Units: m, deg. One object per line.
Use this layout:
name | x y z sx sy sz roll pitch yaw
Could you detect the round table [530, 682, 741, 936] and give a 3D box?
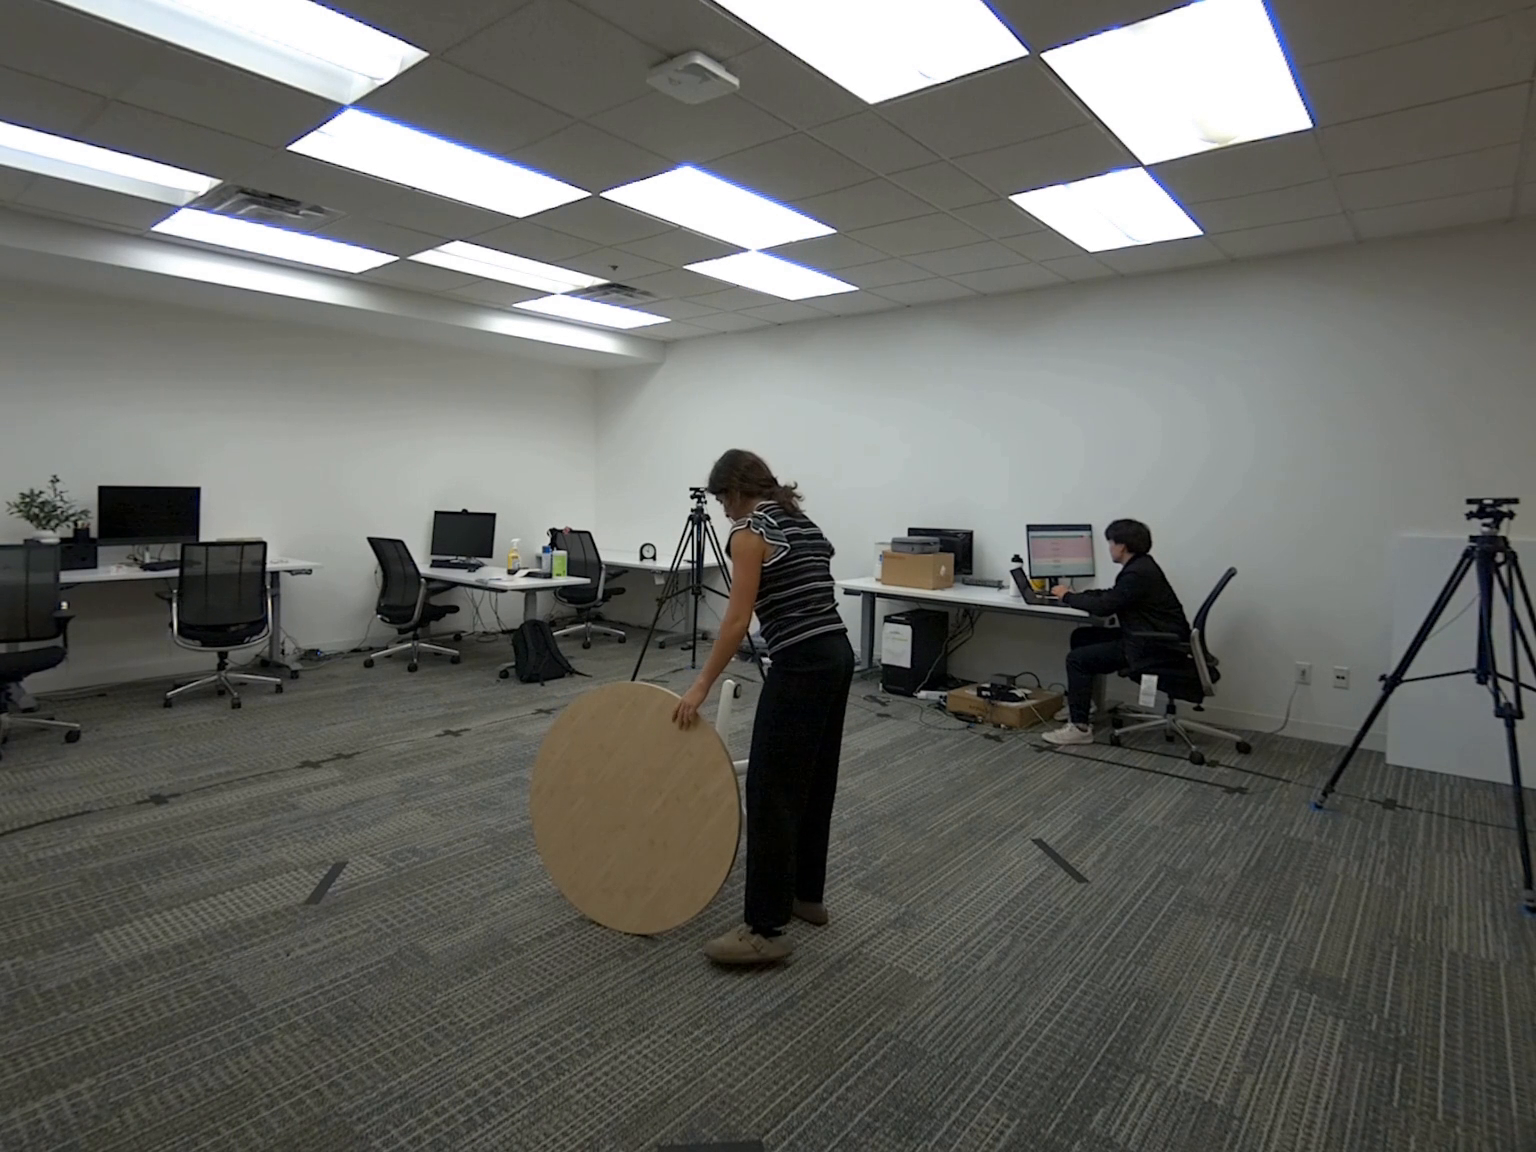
round table | -0.306 0.744 3.039 0.783 0.766 0.772 3 -3 24
